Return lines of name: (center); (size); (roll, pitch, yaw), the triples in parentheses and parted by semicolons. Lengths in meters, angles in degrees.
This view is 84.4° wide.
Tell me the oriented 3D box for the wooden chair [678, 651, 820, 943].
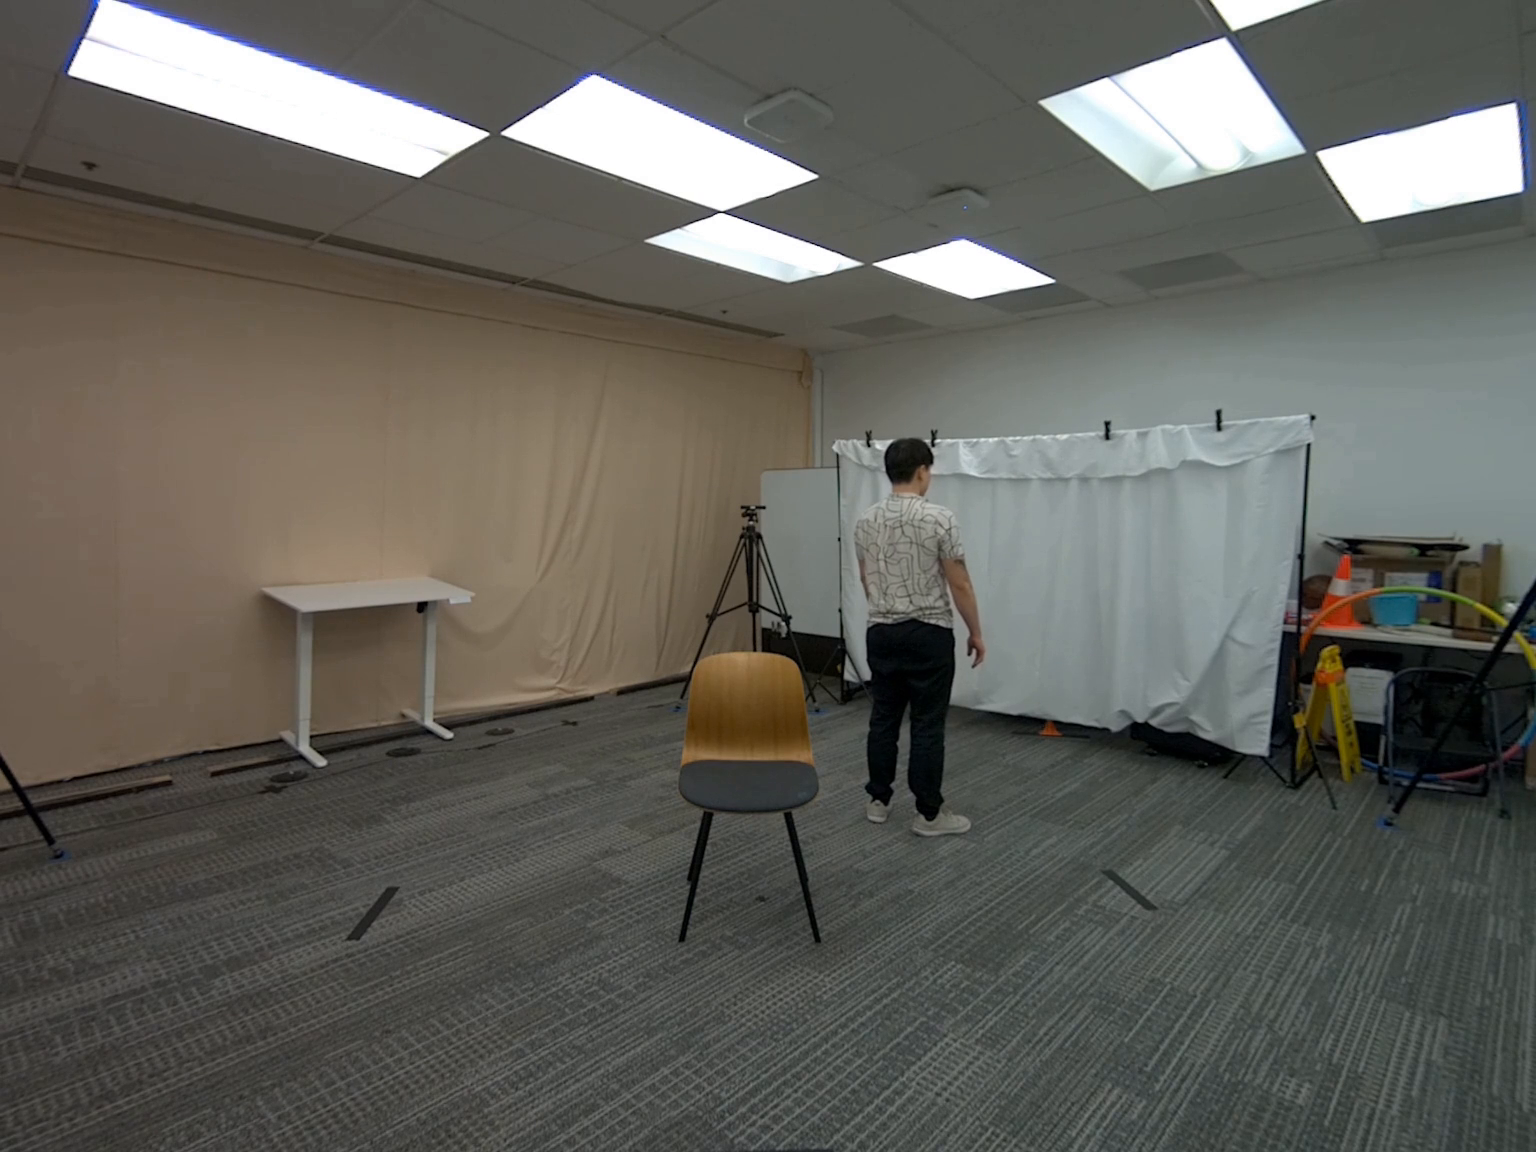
wooden chair: (-0.059, 0.728, 2.867); (0.478, 0.878, 0.523); (0, -1, -2)
